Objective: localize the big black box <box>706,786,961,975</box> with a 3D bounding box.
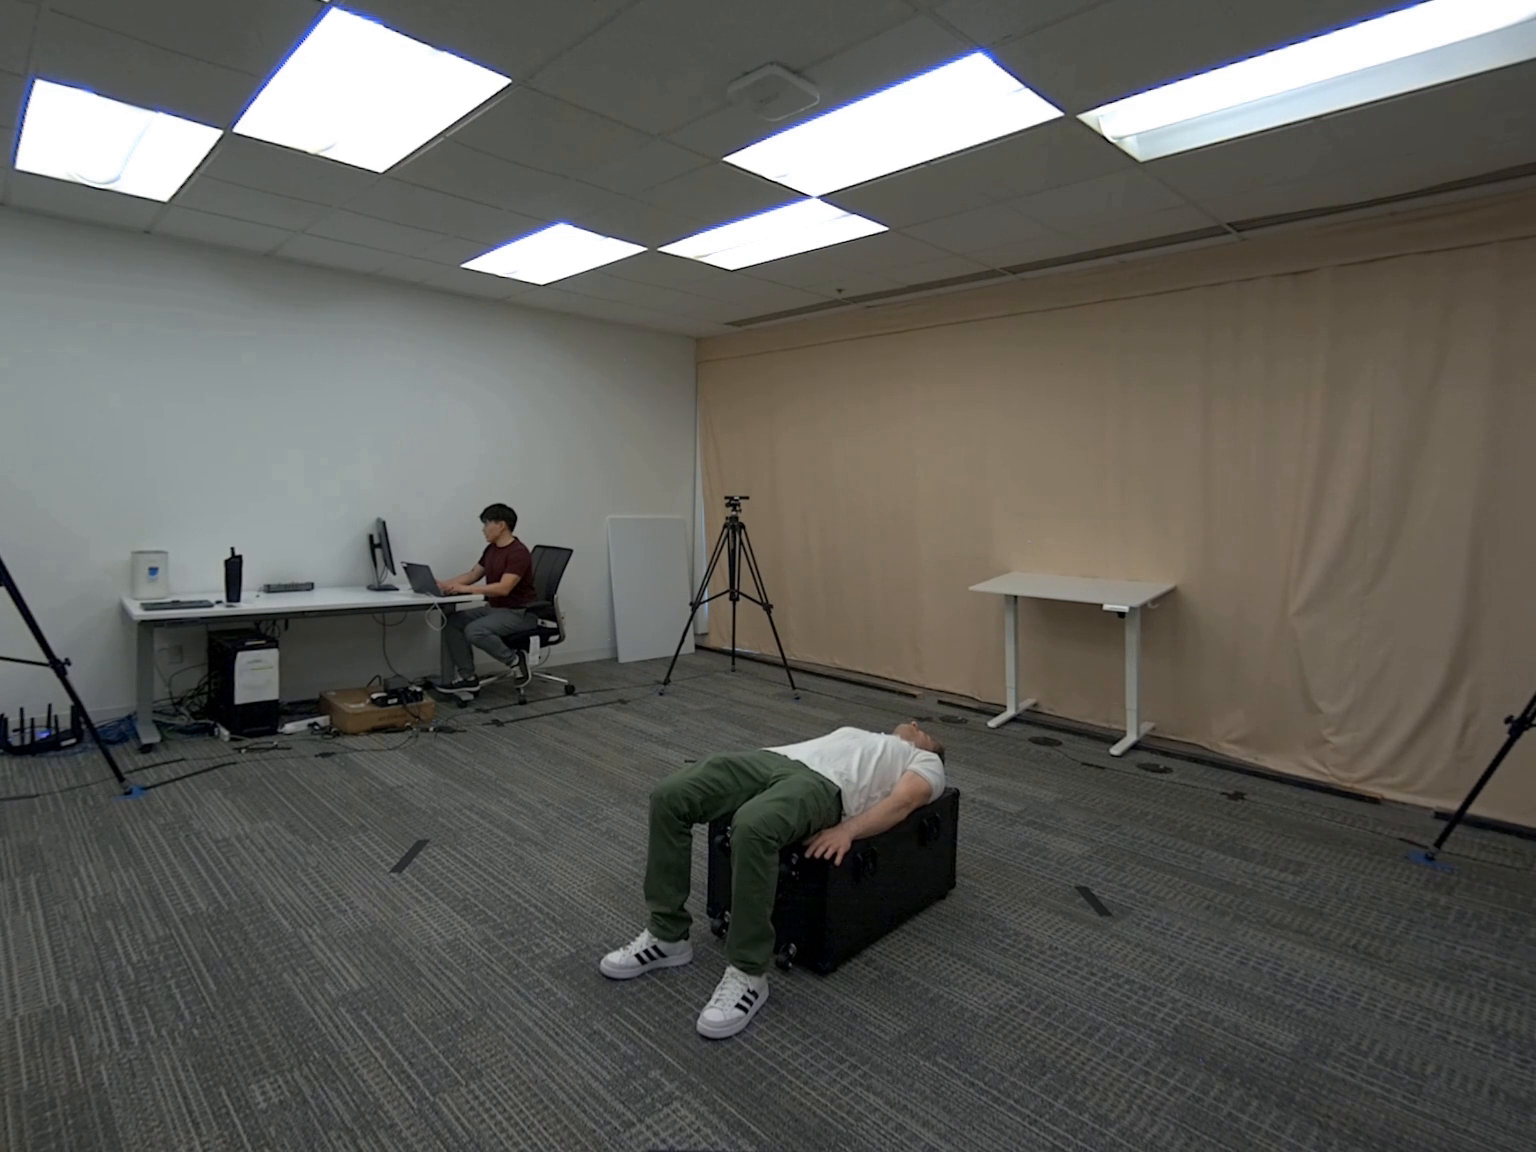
[{"bbox_3d":[0.204,0.947,2.843,0.537,0.384,0.849,6,8,42],"label":"big black box"}]
